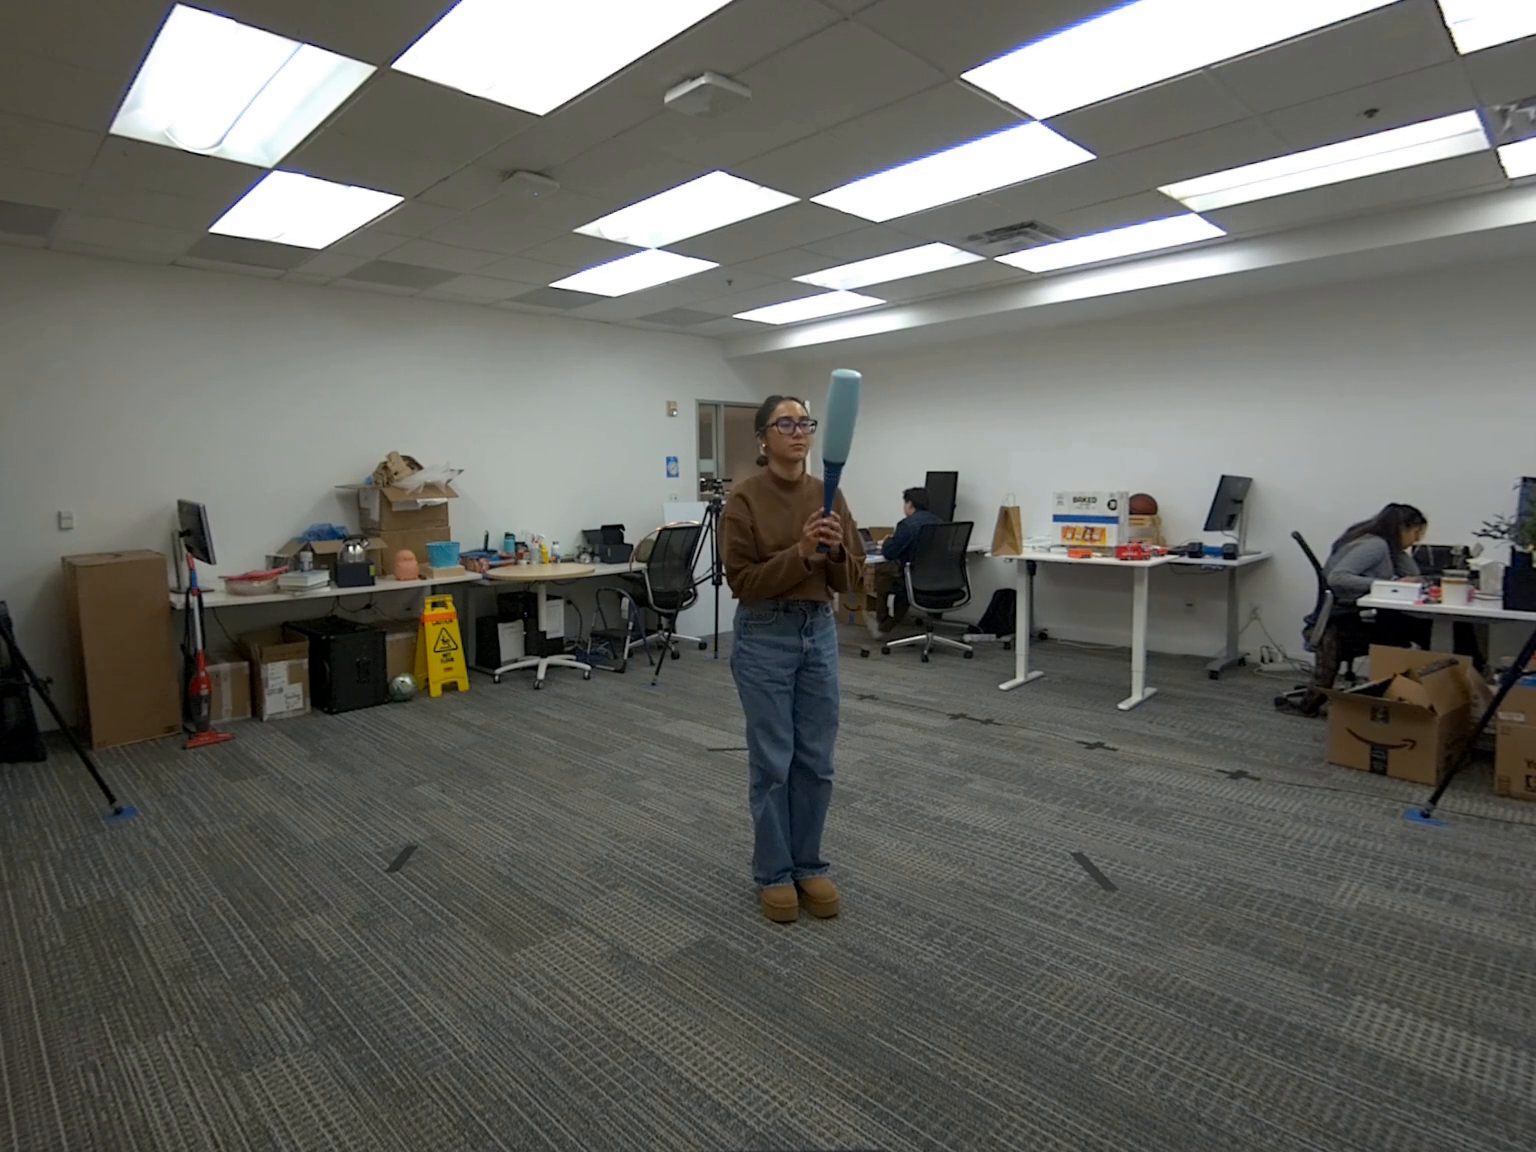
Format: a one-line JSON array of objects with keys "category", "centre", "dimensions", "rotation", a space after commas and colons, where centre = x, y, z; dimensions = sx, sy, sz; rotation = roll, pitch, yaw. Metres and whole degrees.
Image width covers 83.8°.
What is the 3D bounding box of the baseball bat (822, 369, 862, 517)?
[{"category": "baseball bat", "centre": [0.199, -0.297, 2.415], "dimensions": [0.089, 0.534, 0.091], "rotation": [4, 22, -4]}]
